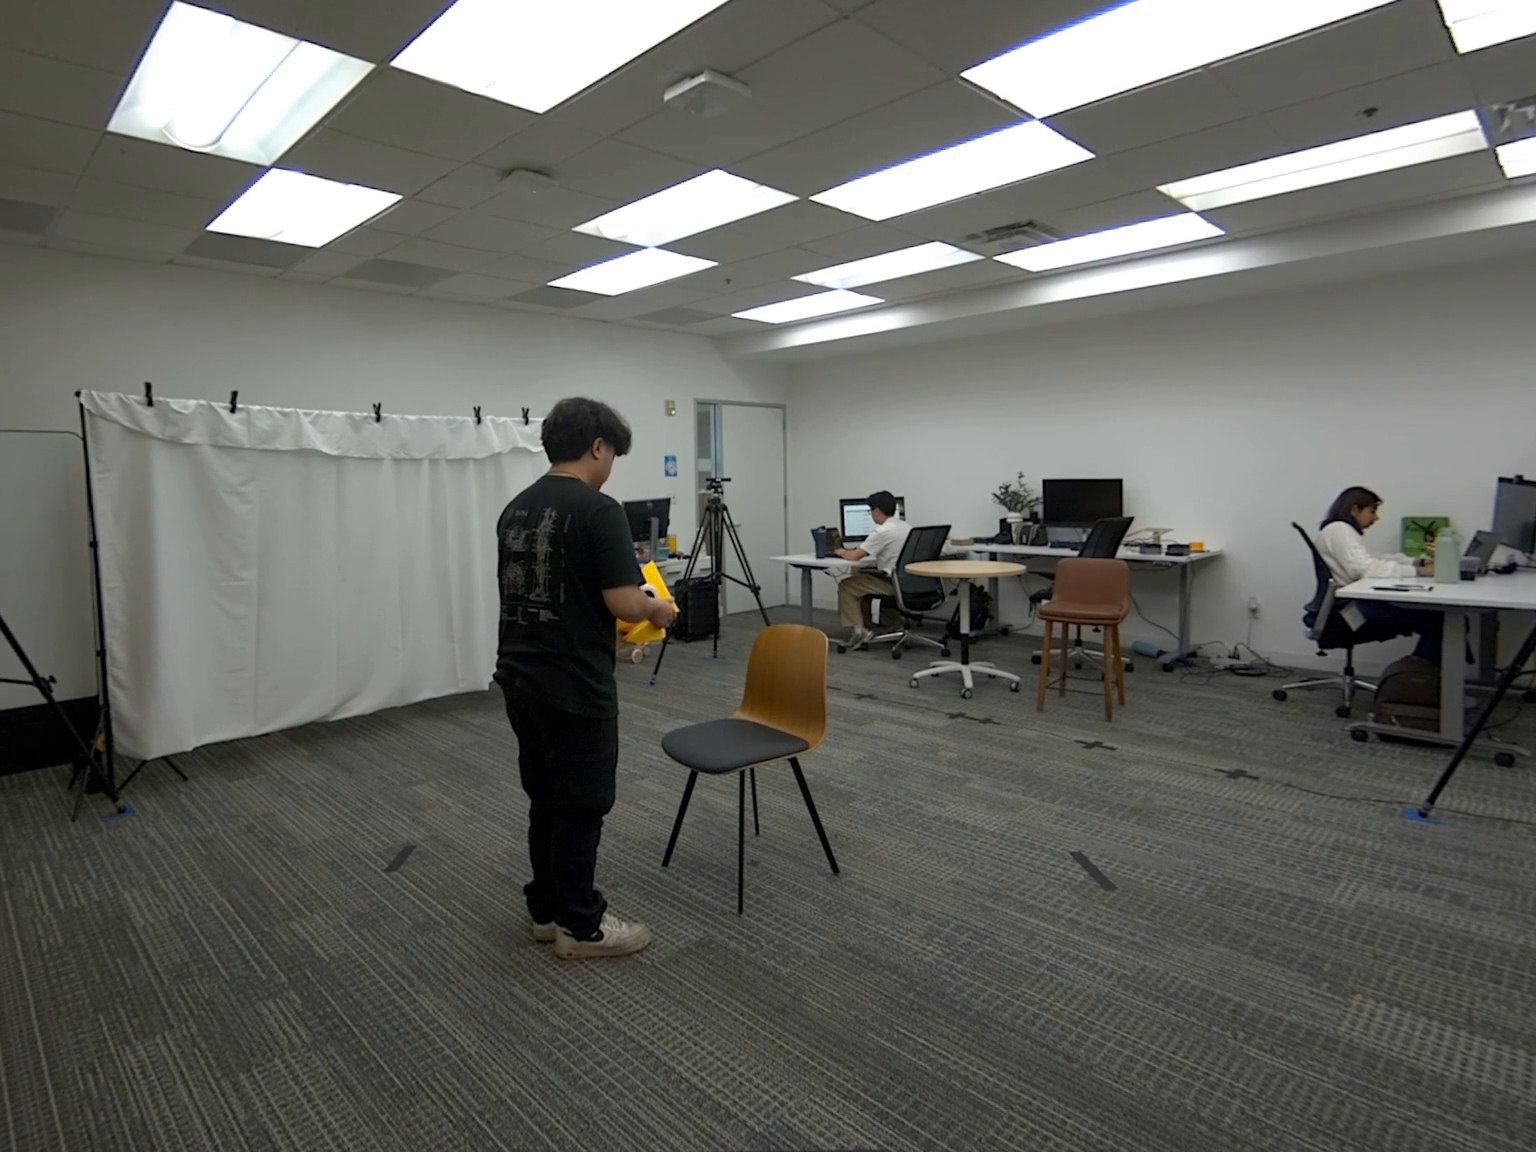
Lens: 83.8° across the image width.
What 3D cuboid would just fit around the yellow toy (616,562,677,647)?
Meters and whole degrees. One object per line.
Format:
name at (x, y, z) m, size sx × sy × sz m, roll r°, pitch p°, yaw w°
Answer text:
yellow toy at (-0.418, 0.071, 2.738) m, size 0.211 × 0.229 × 0.188 m, roll 10°, pitch 12°, yaw 42°
